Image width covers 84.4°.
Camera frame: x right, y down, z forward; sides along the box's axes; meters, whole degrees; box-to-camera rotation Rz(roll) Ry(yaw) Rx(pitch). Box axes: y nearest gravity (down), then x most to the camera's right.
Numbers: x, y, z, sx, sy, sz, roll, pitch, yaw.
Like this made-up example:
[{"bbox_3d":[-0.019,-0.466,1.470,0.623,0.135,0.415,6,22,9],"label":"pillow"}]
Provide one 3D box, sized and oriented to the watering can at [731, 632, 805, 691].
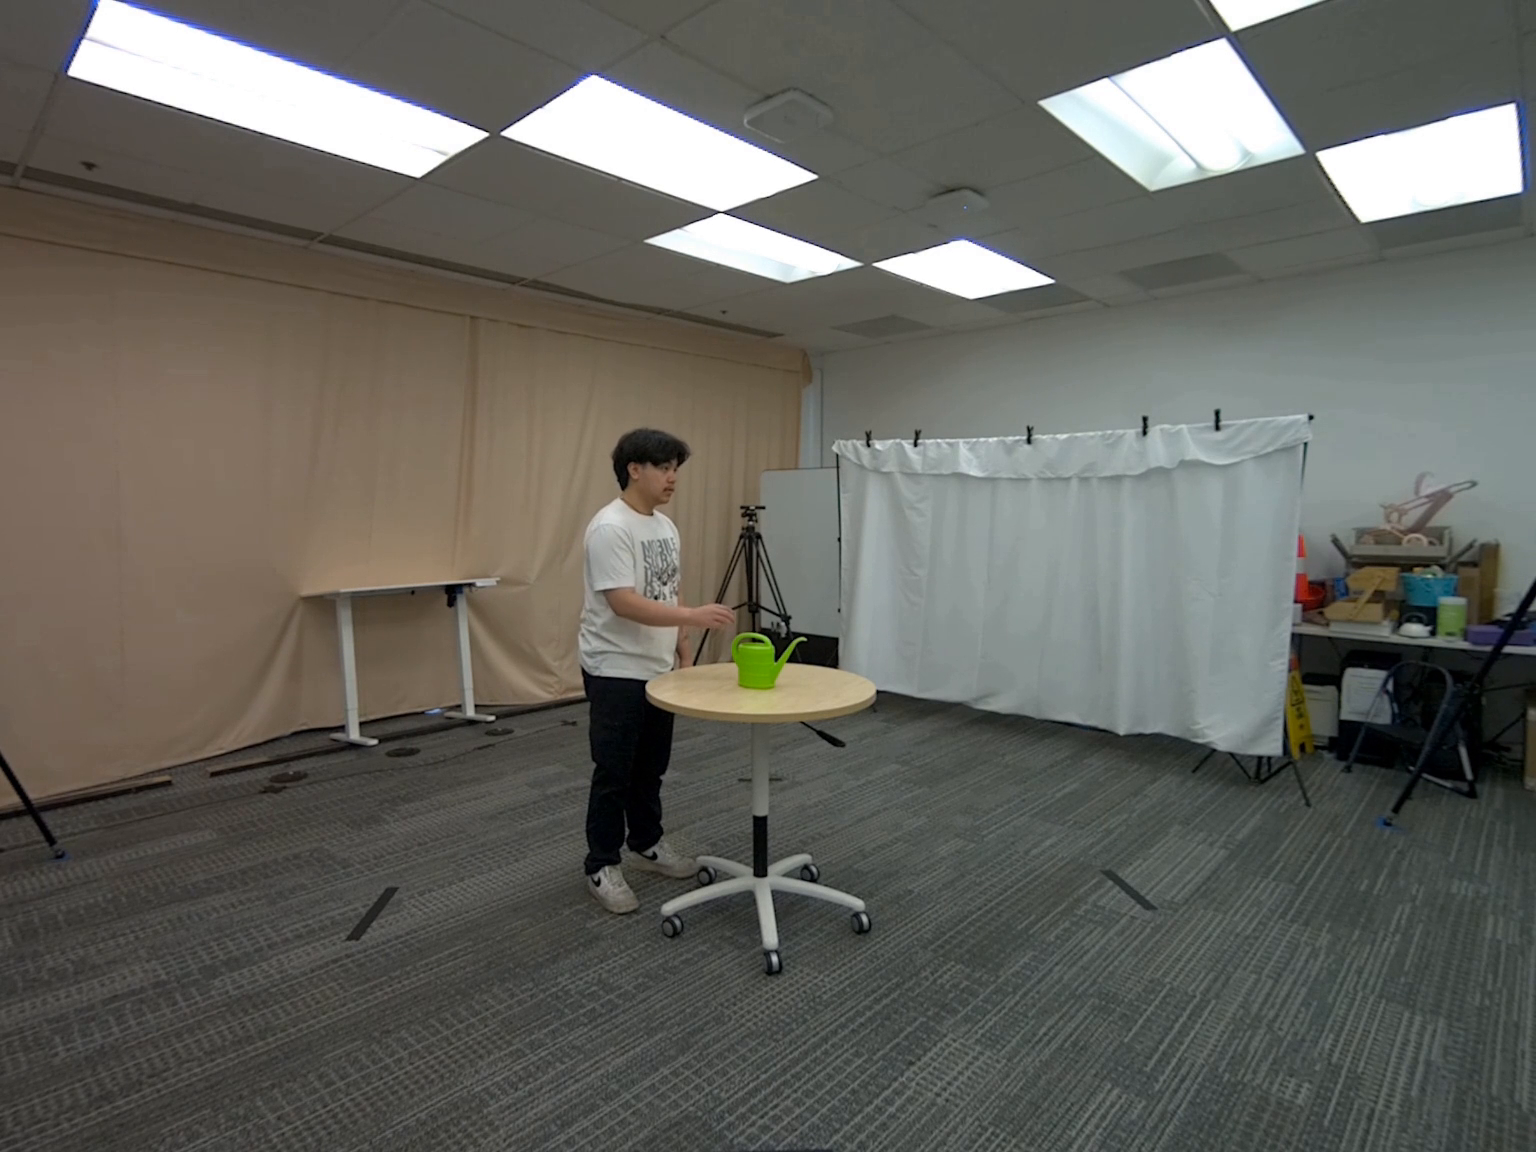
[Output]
[{"bbox_3d":[0.001,0.284,2.761,0.287,0.176,0.095,1,4,43],"label":"watering can"}]
